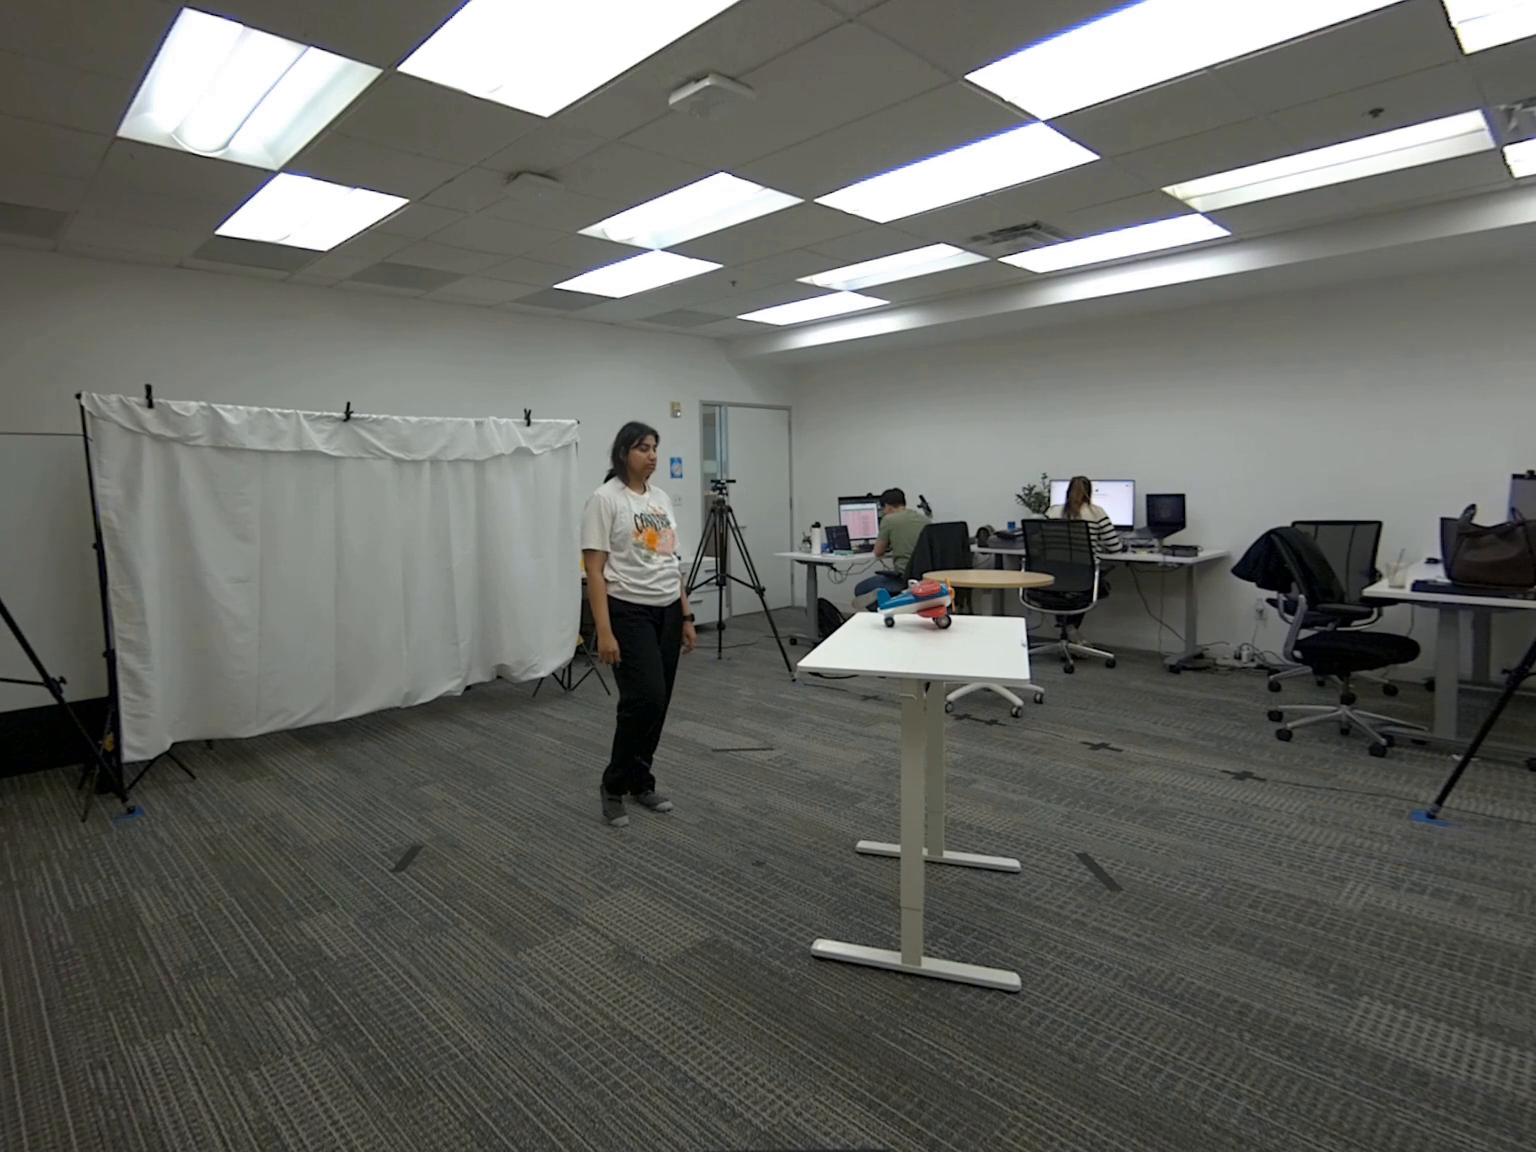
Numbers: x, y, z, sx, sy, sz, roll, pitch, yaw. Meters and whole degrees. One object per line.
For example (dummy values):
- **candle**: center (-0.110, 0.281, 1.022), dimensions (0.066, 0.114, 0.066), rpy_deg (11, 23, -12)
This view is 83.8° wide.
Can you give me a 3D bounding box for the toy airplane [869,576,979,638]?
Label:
- **toy airplane**: center (0.526, 0.099, 2.918), dimensions (0.254, 0.156, 0.257), rpy_deg (-2, 7, -23)
